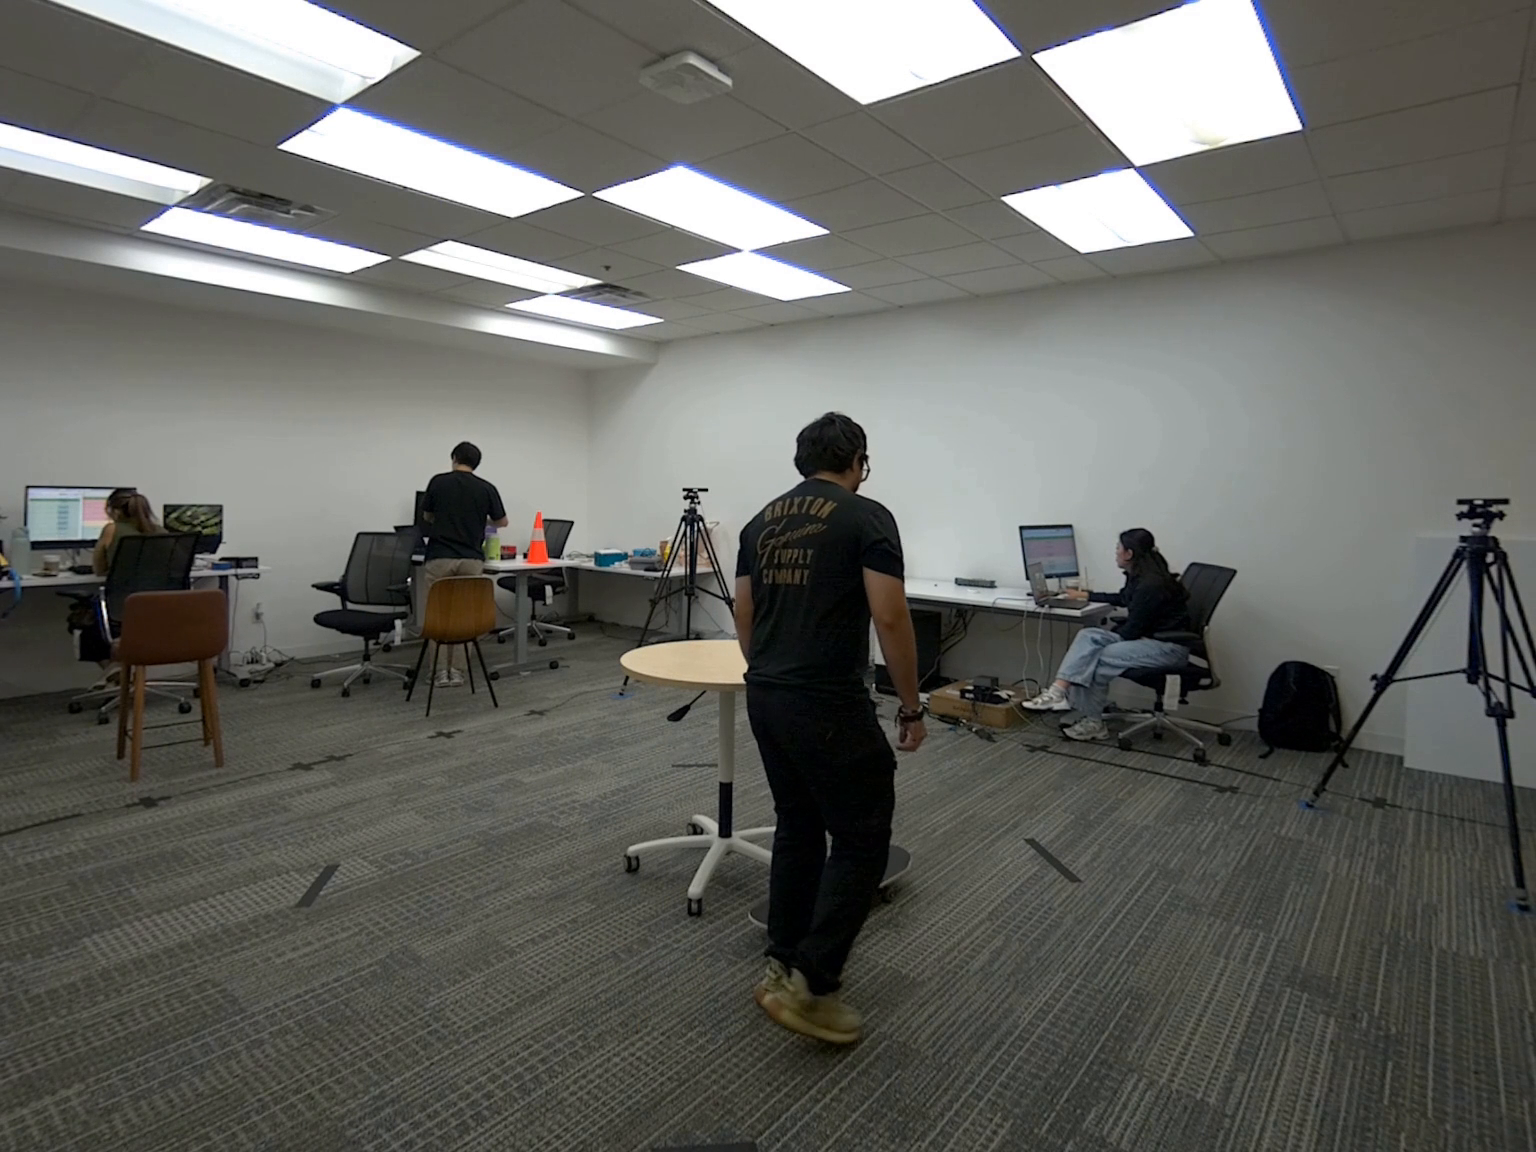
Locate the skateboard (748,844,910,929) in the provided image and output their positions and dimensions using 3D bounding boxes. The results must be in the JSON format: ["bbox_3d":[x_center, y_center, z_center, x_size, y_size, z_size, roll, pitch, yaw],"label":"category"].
[{"bbox_3d":[0.220,1.051,2.801,0.200,0.110,0.762,6,7,41],"label":"skateboard"}]
